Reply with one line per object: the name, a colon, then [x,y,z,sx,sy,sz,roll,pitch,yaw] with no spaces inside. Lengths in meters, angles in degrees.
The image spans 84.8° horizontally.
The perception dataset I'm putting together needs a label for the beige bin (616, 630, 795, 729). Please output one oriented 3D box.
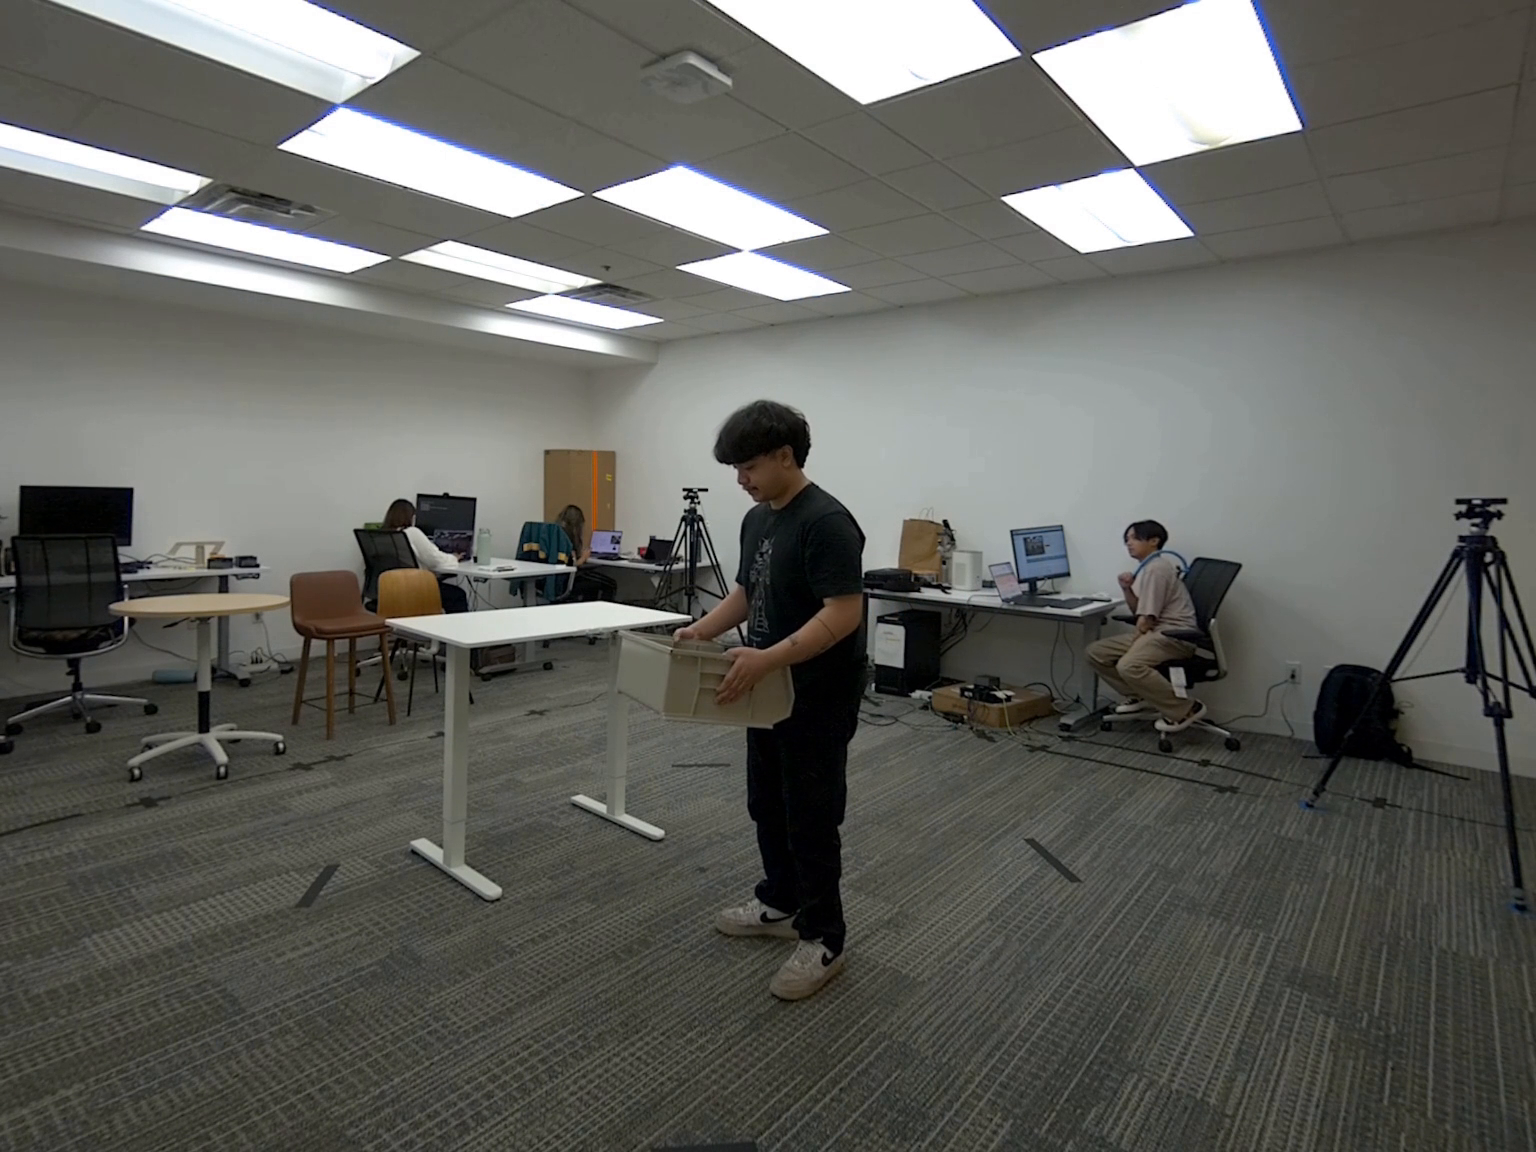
beige bin: [-0.195,0.281,2.374,0.367,0.189,0.433,7,0,-26]
